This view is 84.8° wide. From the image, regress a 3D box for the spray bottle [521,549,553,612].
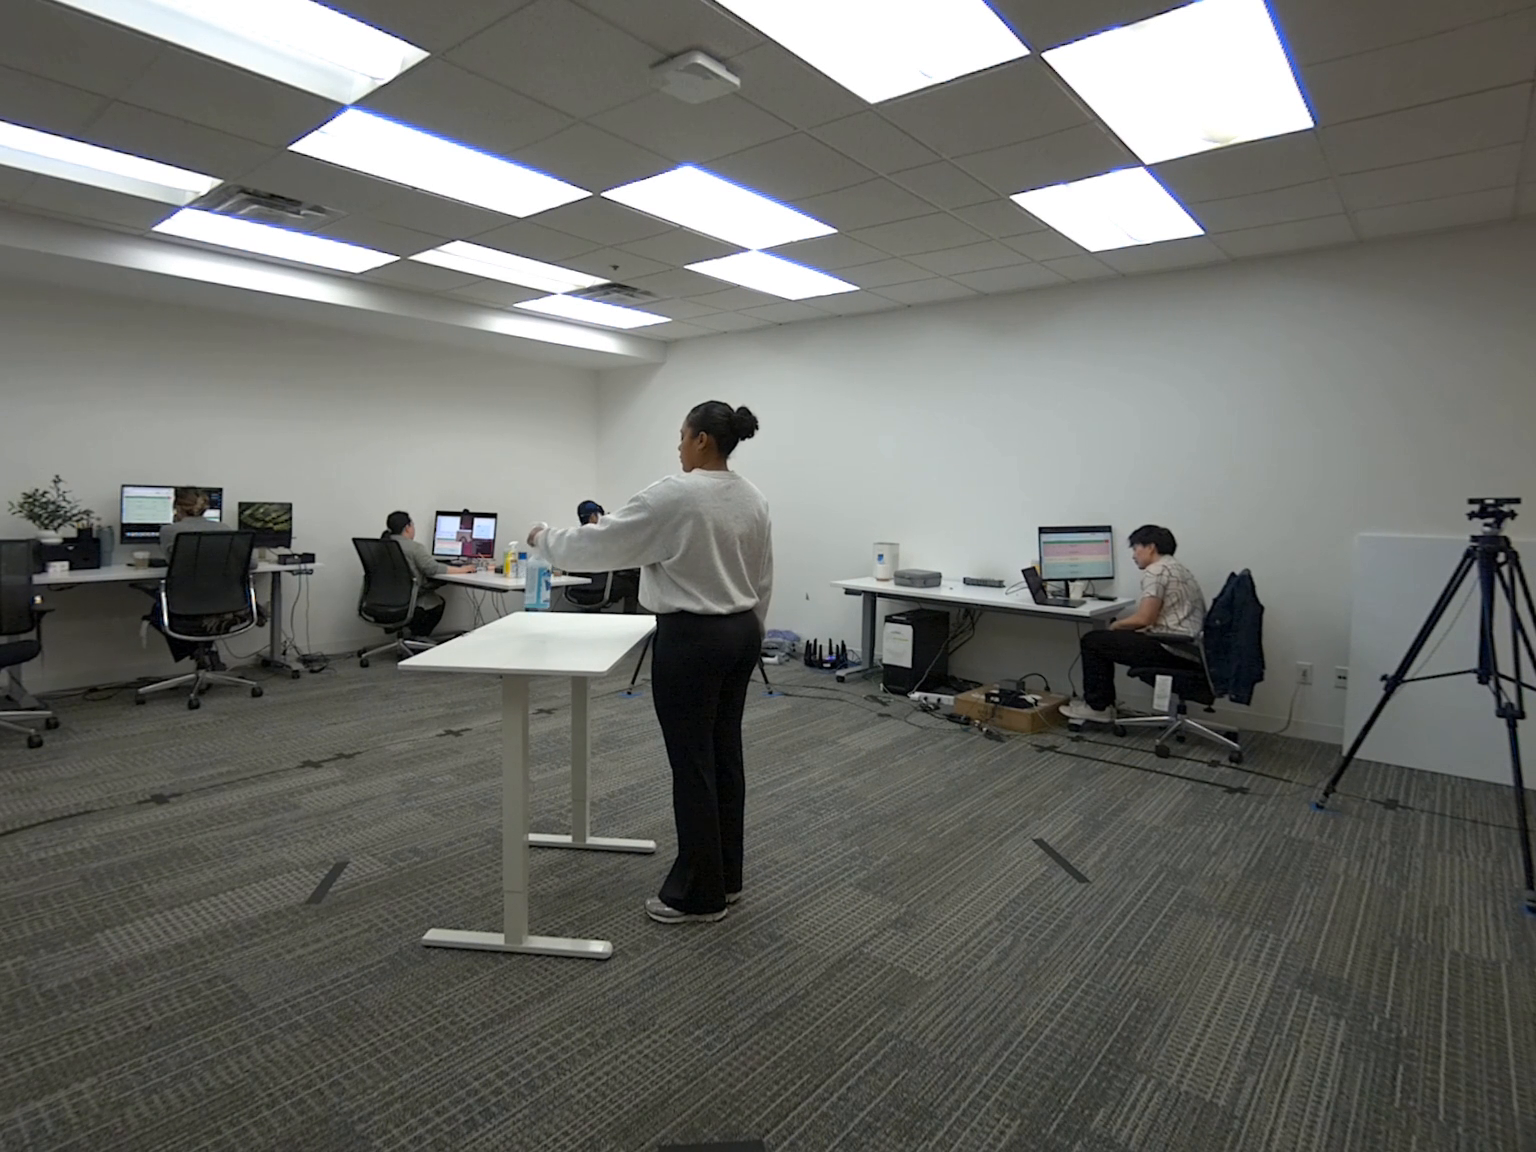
[{"bbox_3d":[-0.800,-0.051,2.938,0.085,0.299,0.091,3,-6,-19],"label":"spray bottle"}]
